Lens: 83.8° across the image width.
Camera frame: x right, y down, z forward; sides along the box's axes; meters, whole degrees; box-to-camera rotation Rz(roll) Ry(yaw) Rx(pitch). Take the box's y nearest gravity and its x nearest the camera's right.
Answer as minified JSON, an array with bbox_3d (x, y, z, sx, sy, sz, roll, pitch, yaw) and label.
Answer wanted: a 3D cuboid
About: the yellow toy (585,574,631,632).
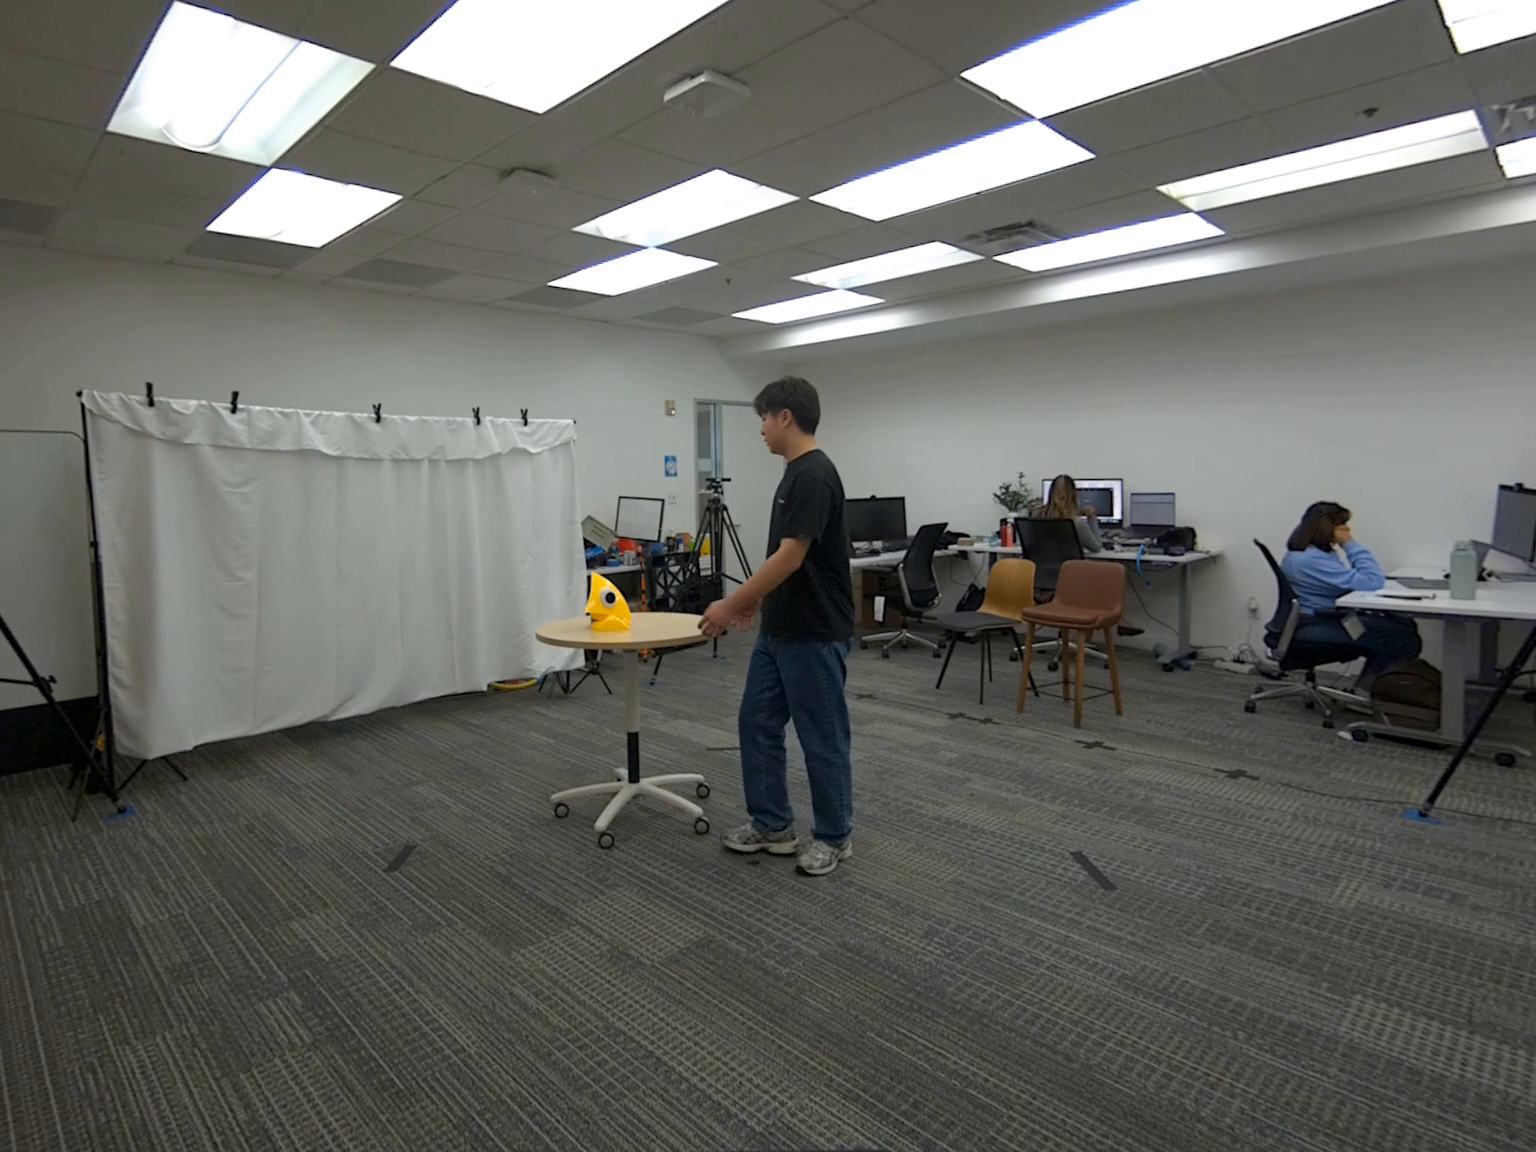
[{"bbox_3d":[-0.657,0.096,3.505,0.191,0.230,0.207,-2,5,-9],"label":"yellow toy"}]
